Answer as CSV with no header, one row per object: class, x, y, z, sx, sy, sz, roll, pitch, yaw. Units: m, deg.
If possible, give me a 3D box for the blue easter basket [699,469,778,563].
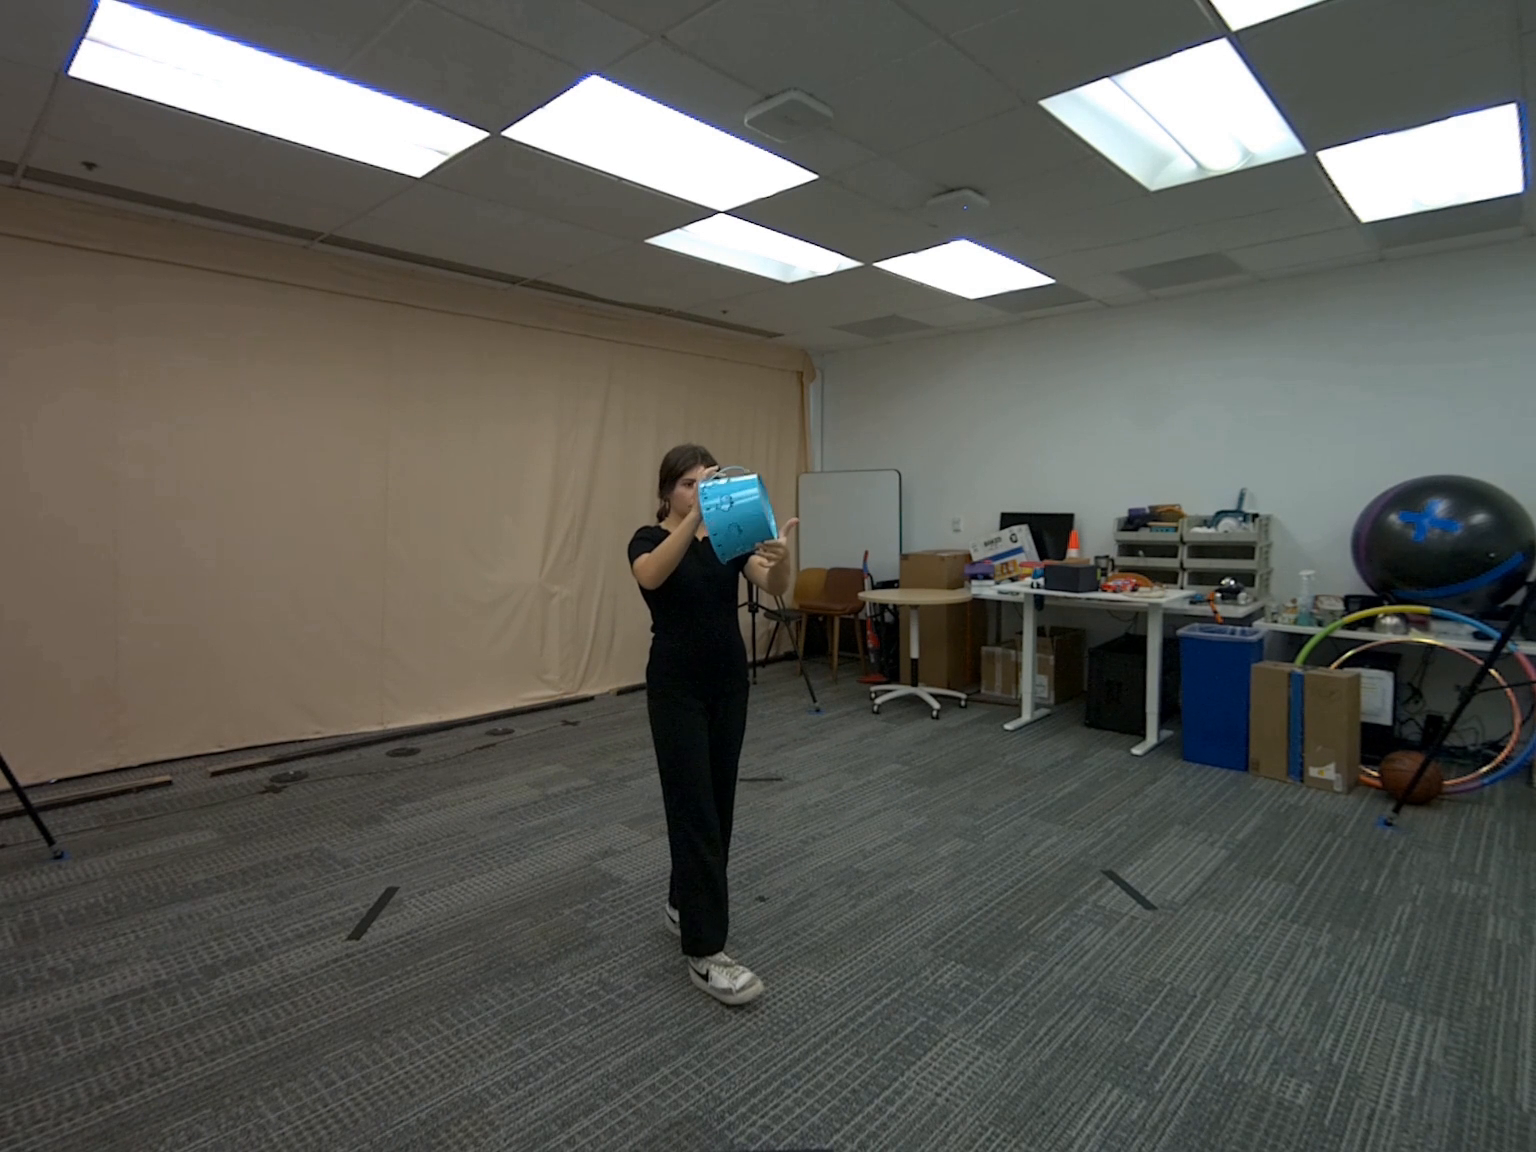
blue easter basket,-0.074,-0.169,2.217,0.157,0.243,0.242,-15,2,7
